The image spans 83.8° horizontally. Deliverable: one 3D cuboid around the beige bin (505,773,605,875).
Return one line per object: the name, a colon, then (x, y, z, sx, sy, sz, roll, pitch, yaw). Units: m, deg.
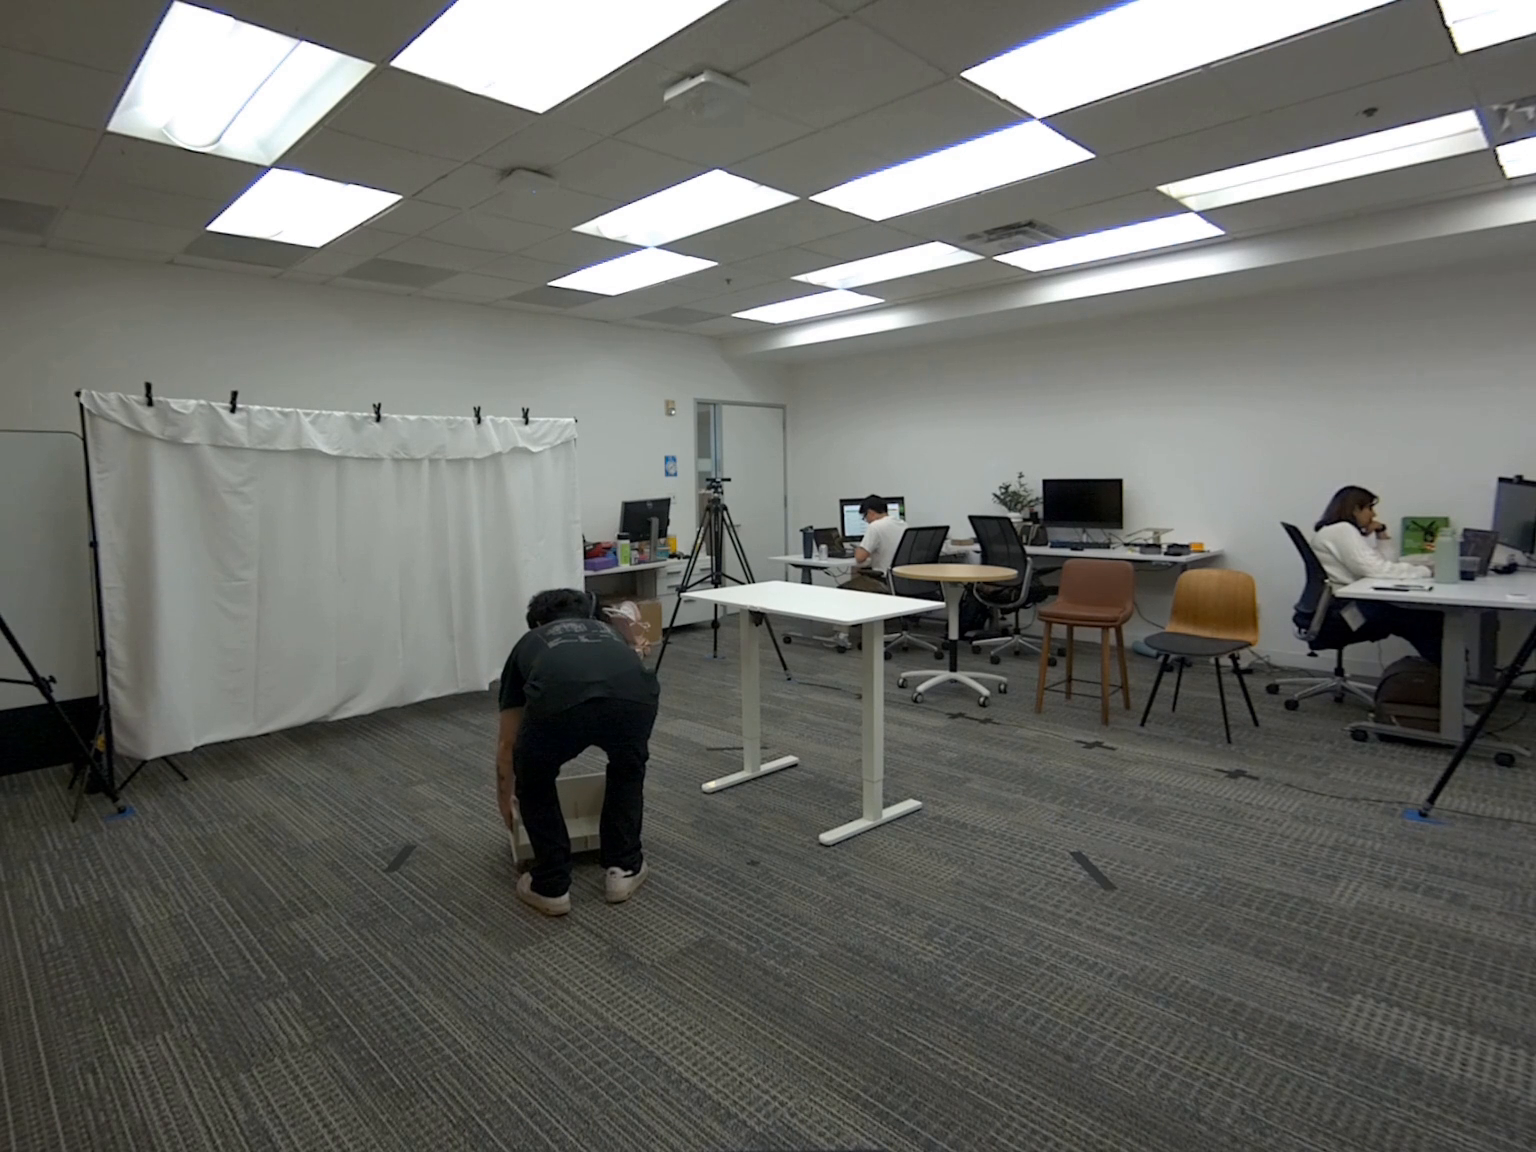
beige bin: (-0.766, 0.920, 3.239, 0.415, 0.188, 0.385, -3, 6, -20)
